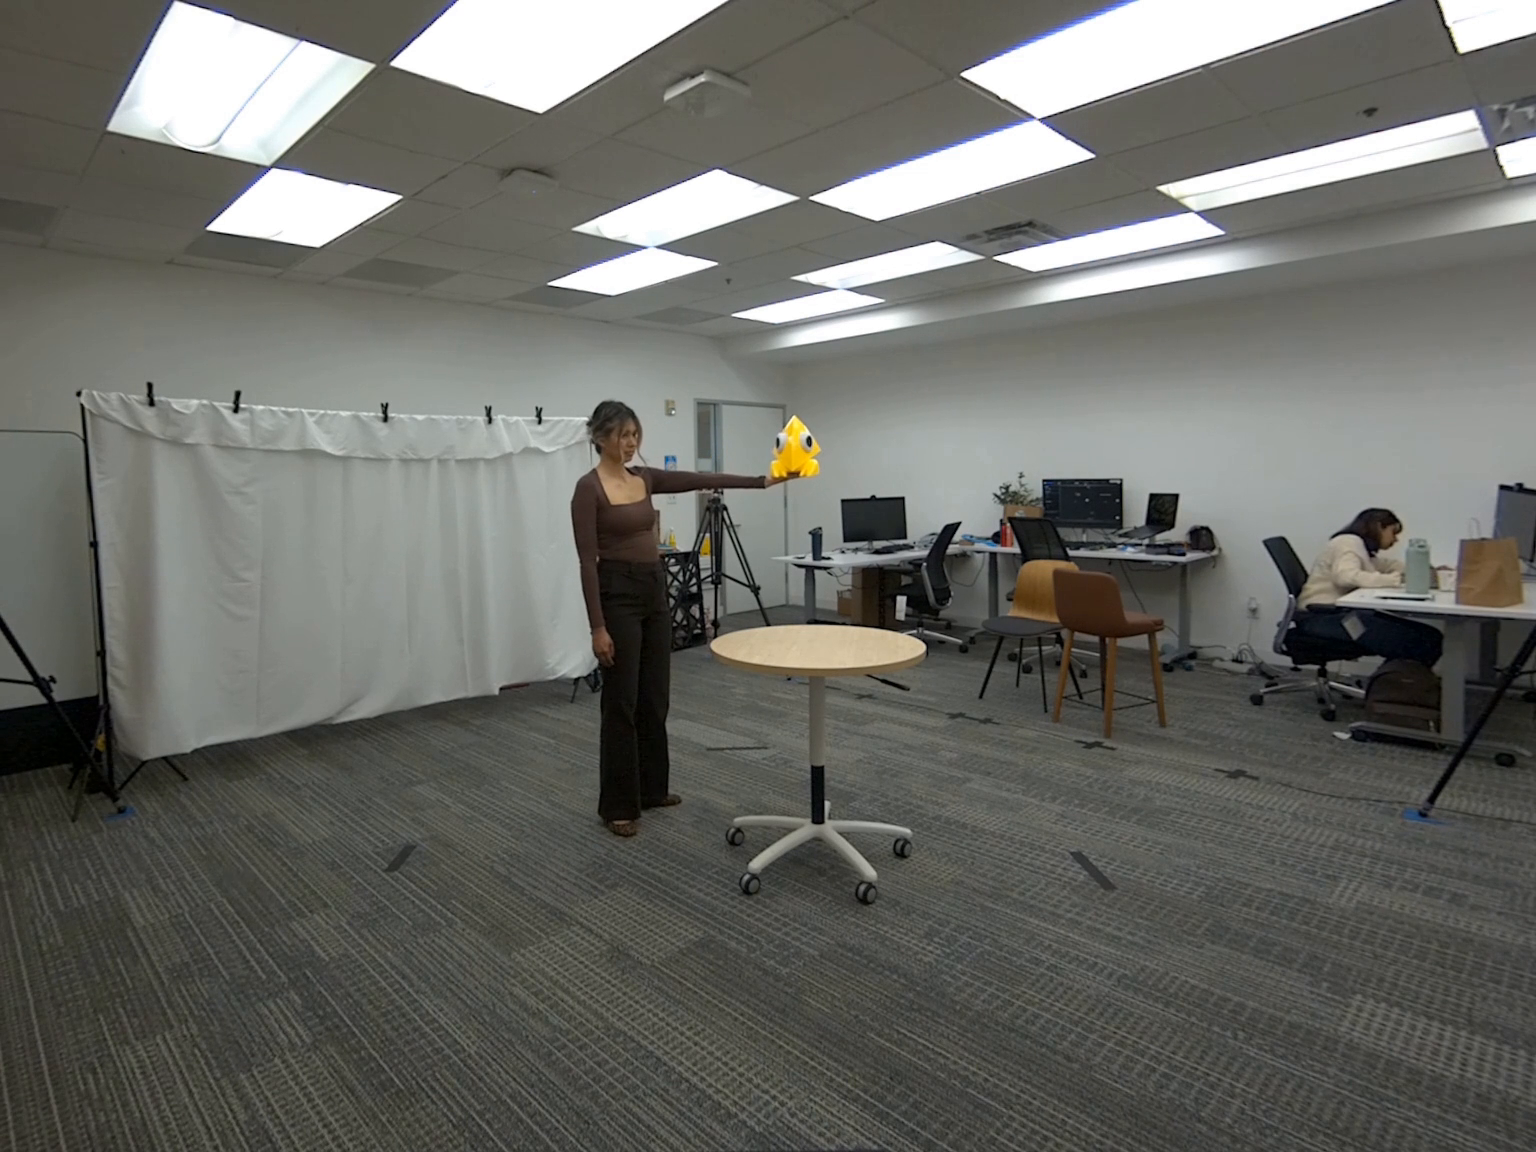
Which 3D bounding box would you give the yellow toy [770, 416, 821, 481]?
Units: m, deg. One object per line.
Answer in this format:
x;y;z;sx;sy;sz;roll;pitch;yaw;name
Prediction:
0.103;-0.531;3.479;0.207;0.228;0.193;0;14;9;yellow toy
